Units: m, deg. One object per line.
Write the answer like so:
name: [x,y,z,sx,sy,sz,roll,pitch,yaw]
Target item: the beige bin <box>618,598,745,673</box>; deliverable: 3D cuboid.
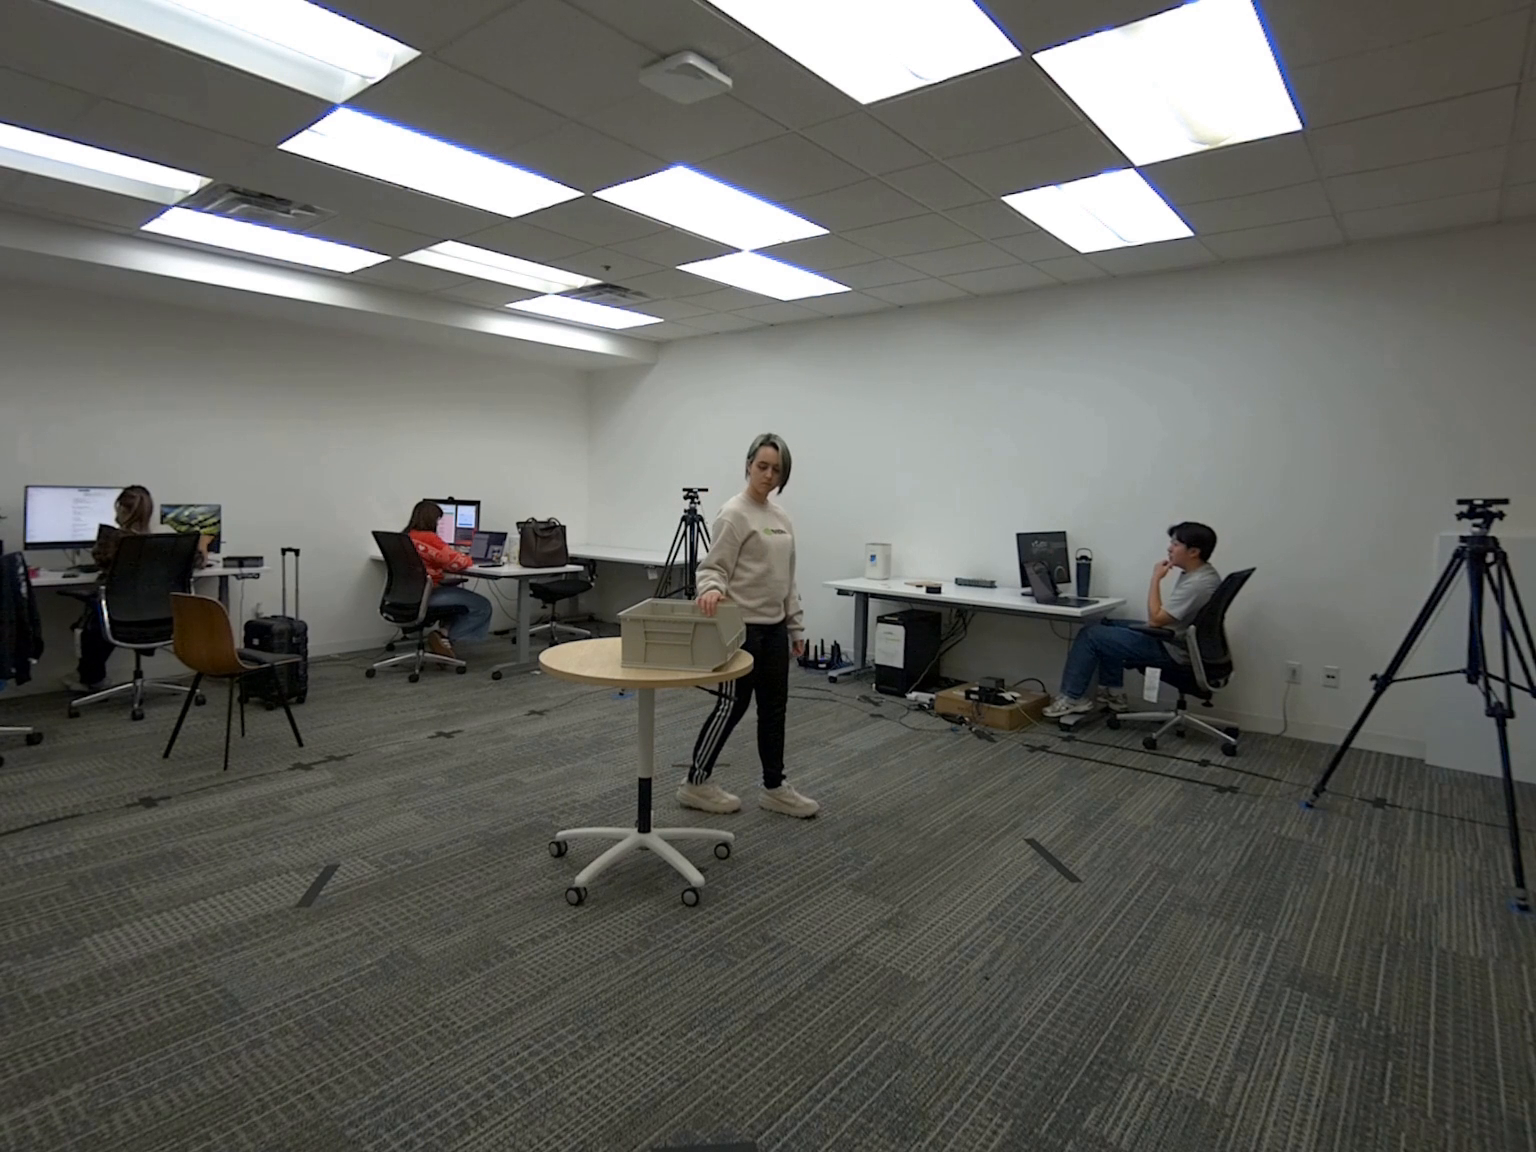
beige bin: [-0.312,0.200,3.025,0.381,0.188,0.419,0,5,9]
